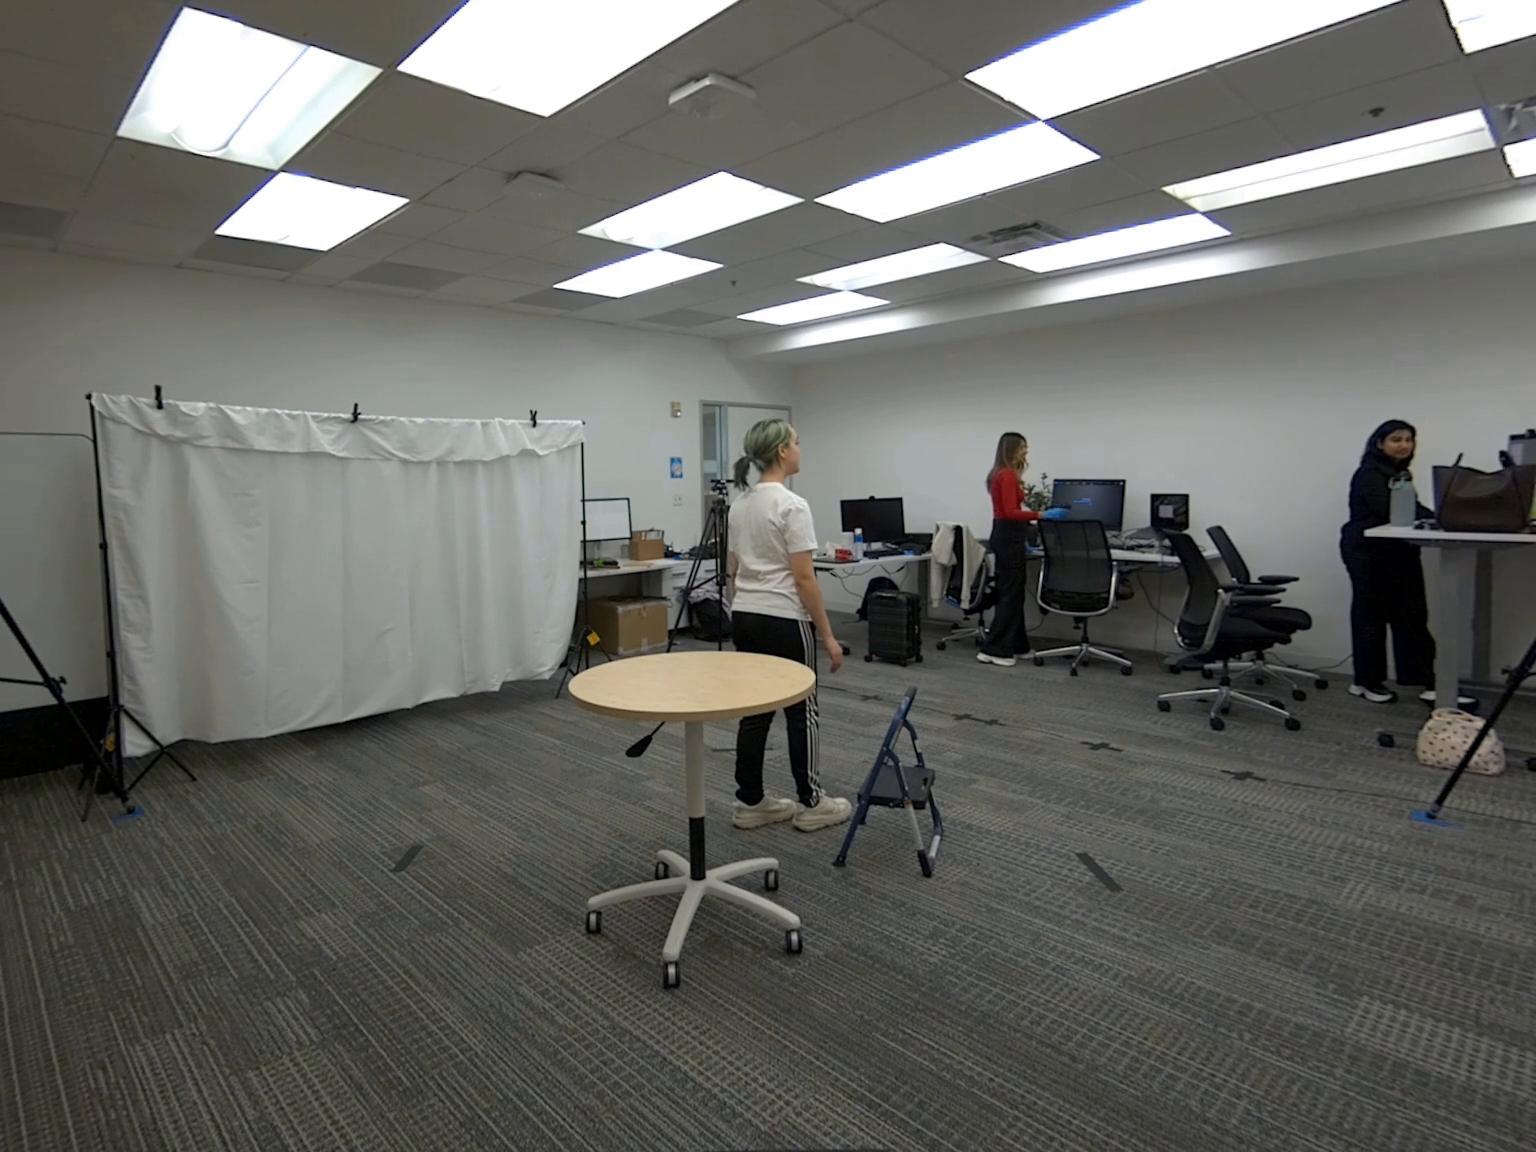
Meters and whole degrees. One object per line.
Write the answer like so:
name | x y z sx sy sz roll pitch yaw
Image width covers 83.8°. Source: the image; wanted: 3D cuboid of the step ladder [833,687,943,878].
step ladder | 0.458 0.725 3.196 0.355 0.604 0.424 0 4 18
